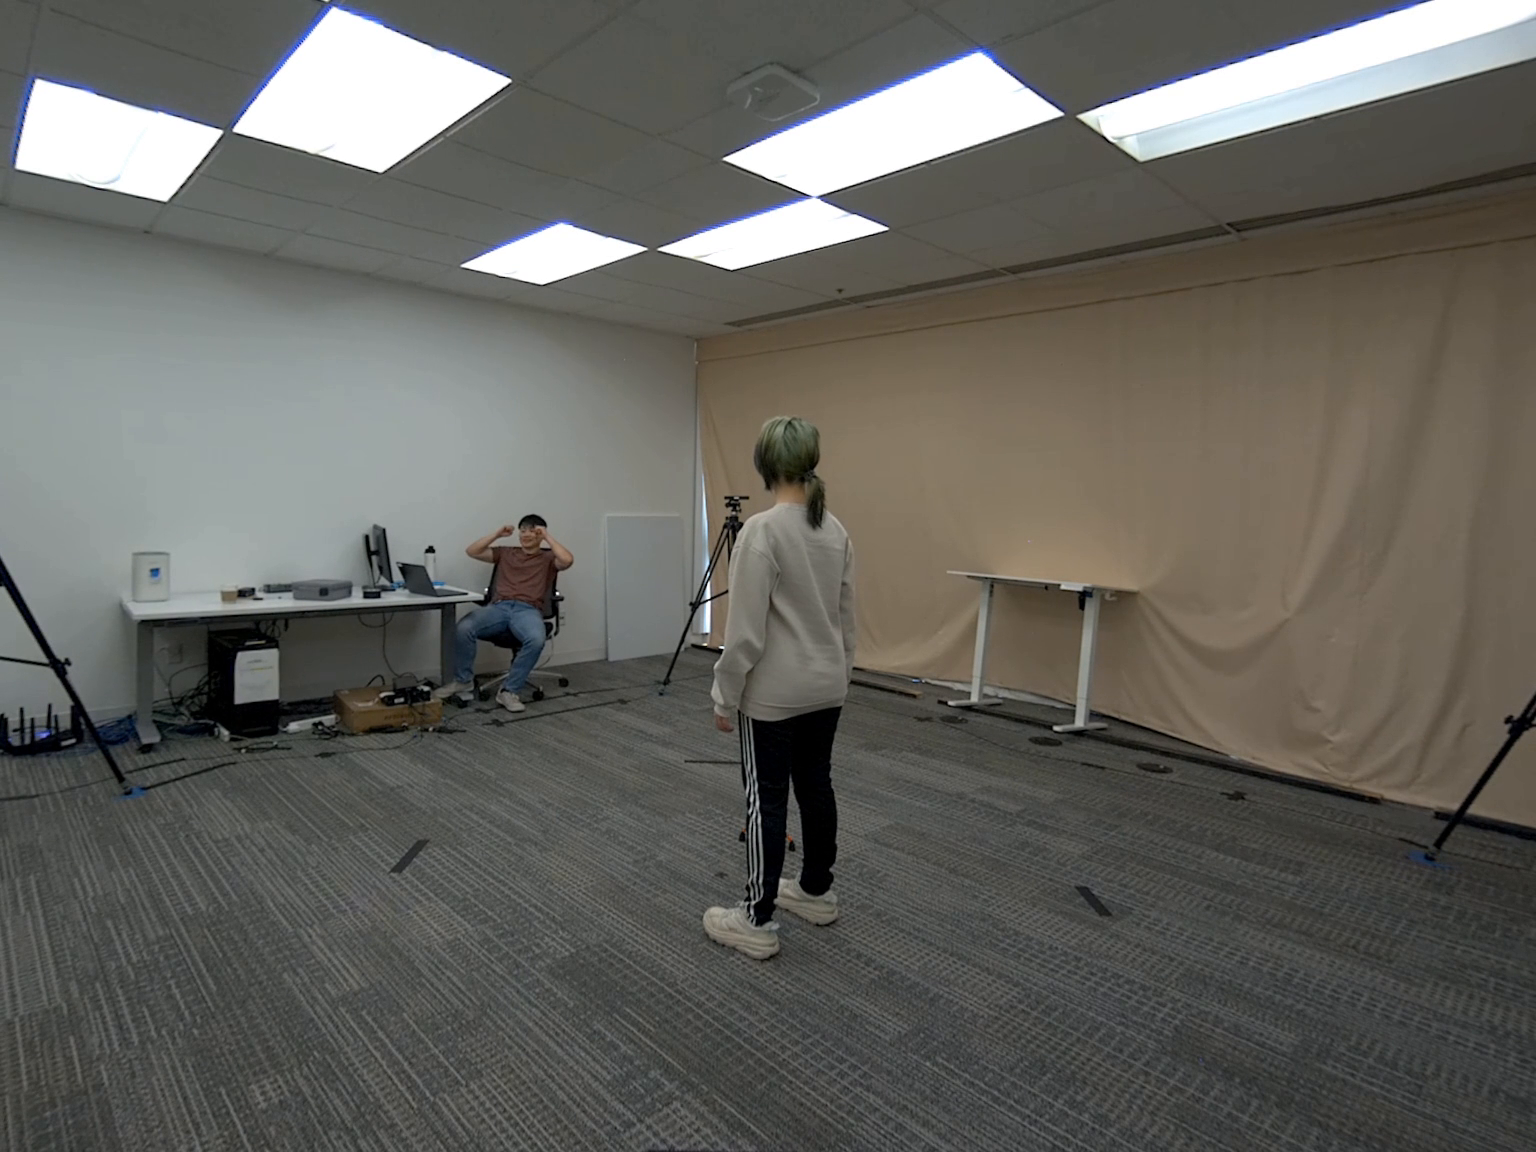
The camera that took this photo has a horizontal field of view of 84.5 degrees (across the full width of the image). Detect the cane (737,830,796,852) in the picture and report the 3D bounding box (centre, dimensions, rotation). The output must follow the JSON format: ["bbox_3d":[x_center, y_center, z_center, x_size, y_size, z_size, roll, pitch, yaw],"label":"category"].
[{"bbox_3d":[0.003,0.631,3.362,0.148,0.906,0.211,0,3,-33],"label":"cane"}]
